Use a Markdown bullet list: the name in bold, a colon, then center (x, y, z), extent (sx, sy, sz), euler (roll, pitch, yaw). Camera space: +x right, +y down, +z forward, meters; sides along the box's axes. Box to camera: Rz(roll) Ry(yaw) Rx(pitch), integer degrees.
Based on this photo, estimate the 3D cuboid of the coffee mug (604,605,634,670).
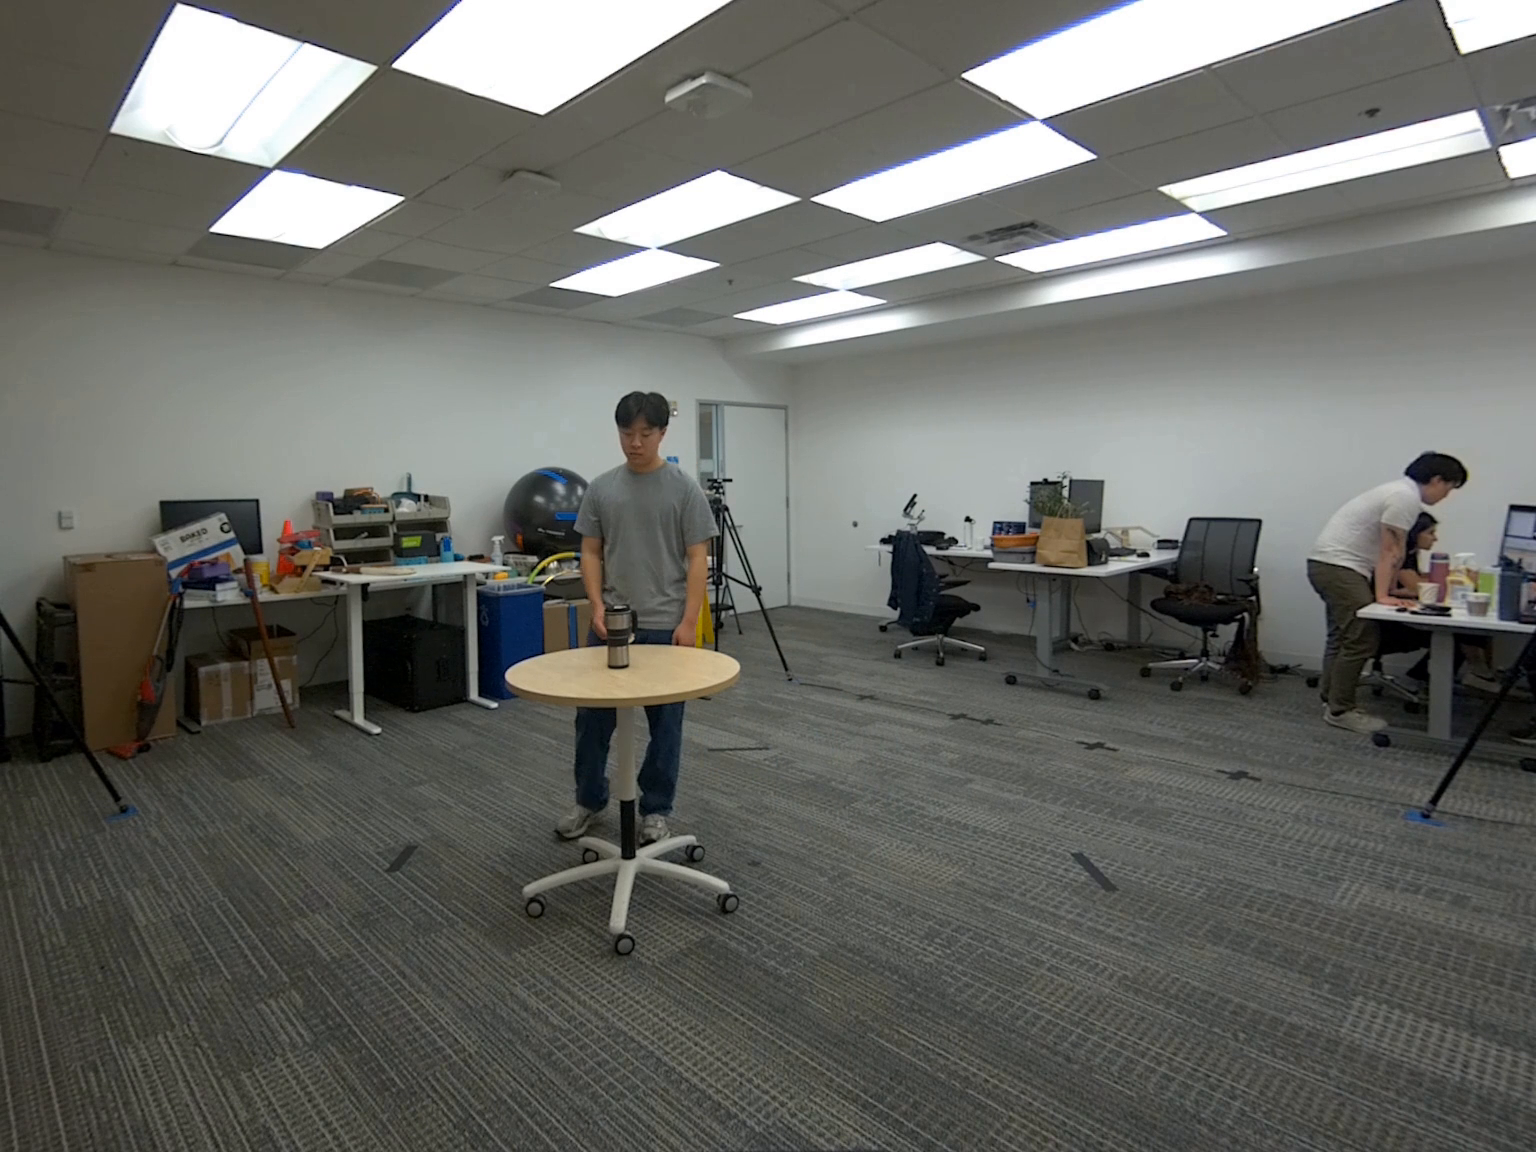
- **coffee mug**: center (-0.491, 0.203, 2.838), extent (0.119, 0.202, 0.090), euler (-10, 5, -44)
